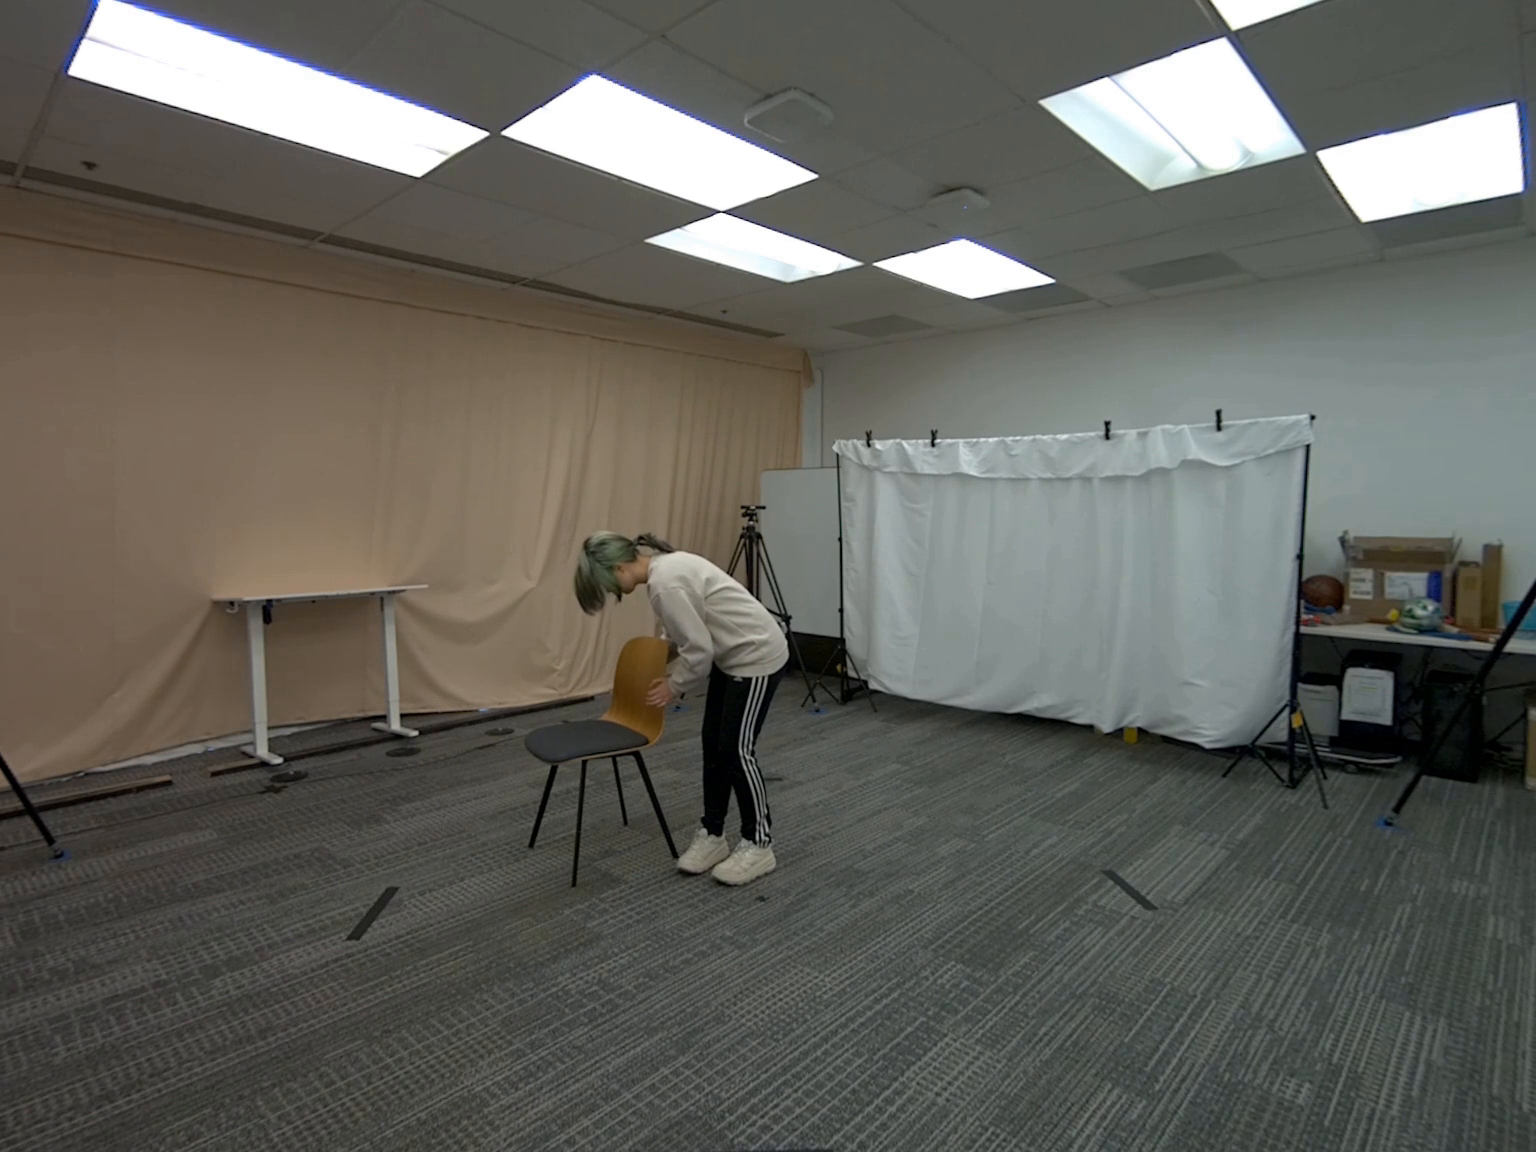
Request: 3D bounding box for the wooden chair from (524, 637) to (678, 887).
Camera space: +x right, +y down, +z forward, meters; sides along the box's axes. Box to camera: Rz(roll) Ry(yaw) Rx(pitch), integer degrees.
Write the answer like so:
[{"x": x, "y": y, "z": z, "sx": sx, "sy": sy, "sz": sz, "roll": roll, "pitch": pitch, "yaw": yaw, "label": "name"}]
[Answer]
[{"x": -0.677, "y": 0.692, "z": 3.361, "sx": 0.507, "sy": 0.877, "sz": 0.493, "roll": 2, "pitch": 1, "yaw": -36, "label": "wooden chair"}]
